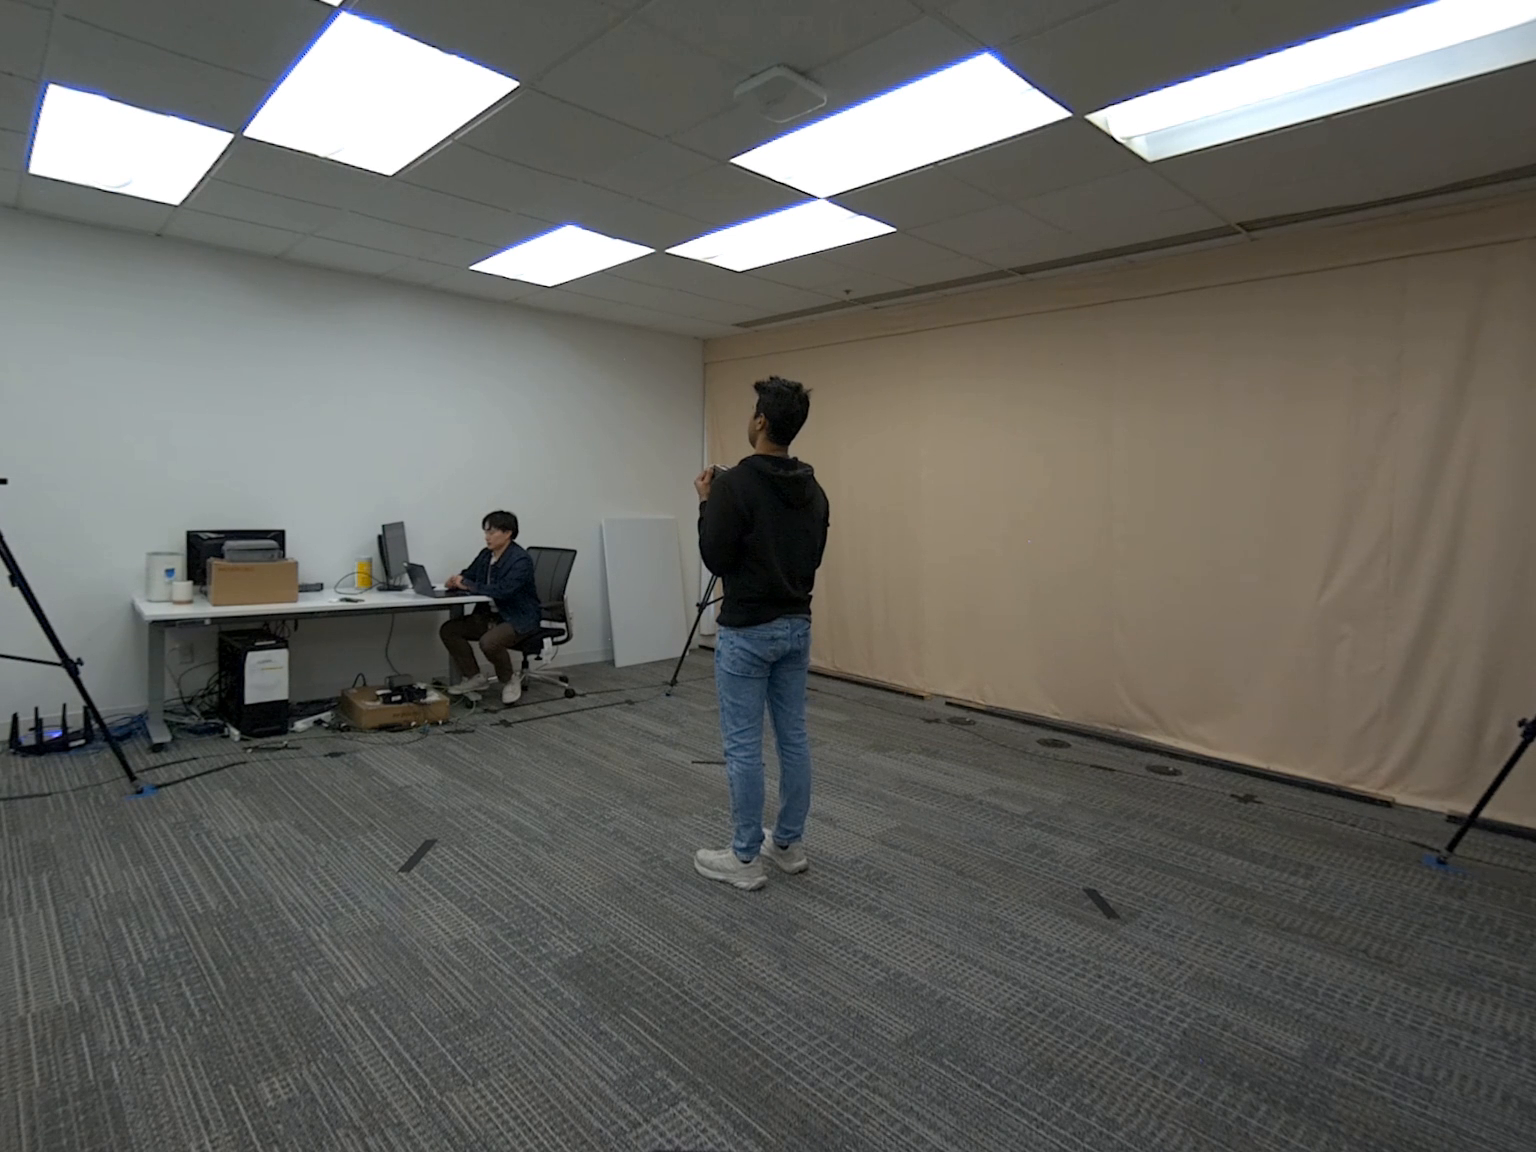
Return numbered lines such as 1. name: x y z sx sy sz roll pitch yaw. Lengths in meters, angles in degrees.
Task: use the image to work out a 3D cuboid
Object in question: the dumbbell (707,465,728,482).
1. dumbbell: -0.083 -0.337 3.160 0.287 0.108 0.127 -1 28 -42
